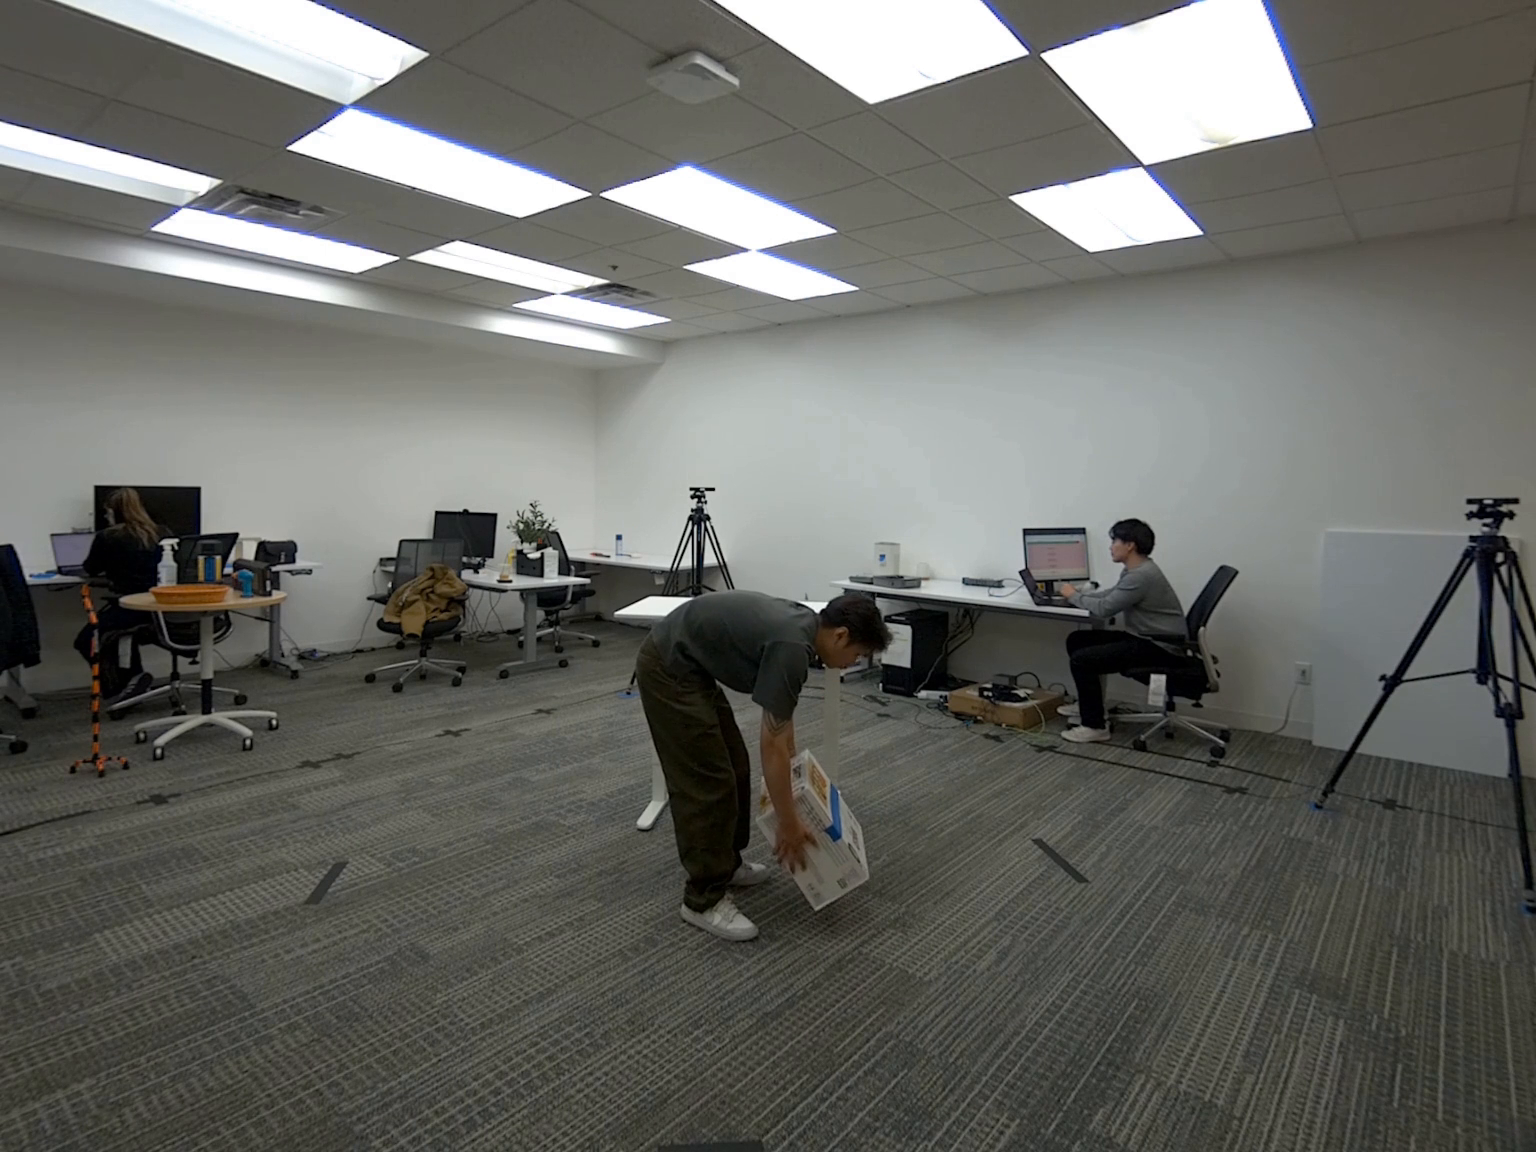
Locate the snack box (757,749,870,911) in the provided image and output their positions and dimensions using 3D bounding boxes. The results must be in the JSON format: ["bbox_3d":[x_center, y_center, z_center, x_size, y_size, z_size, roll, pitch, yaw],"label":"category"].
[{"bbox_3d":[0.139,0.831,2.836,0.206,0.340,0.404,-34,1,6],"label":"snack box"}]
